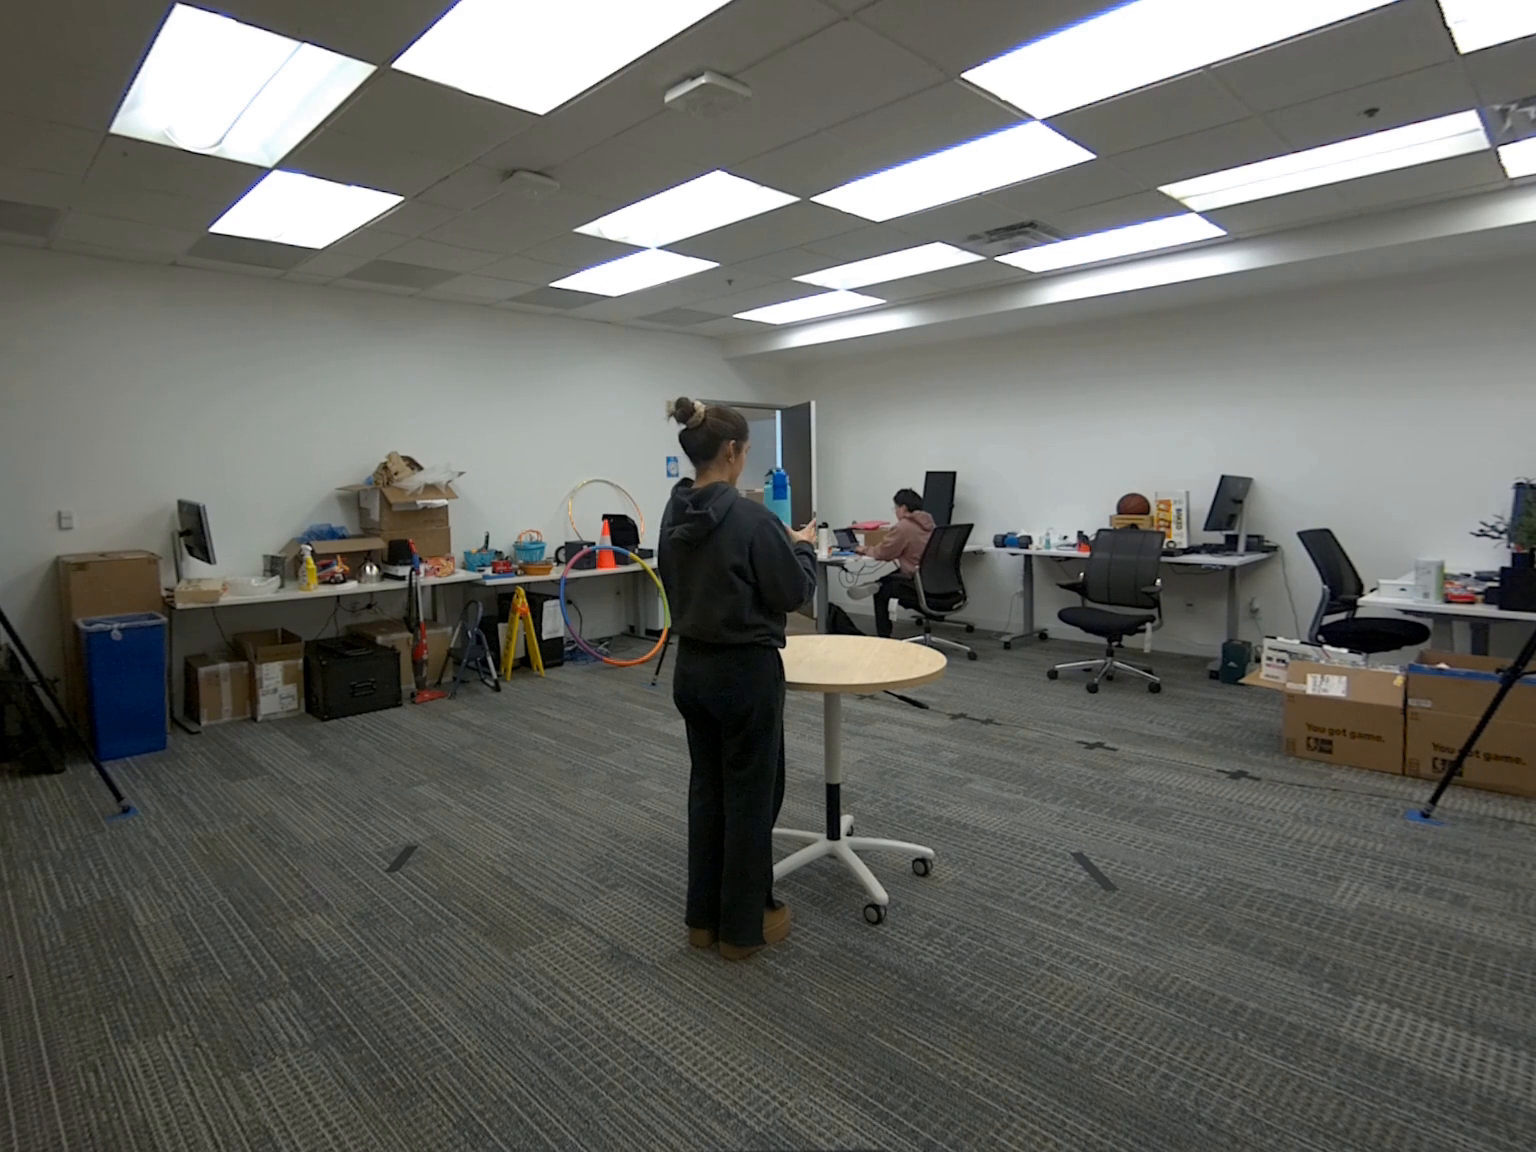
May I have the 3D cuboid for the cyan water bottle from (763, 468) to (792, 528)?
[{"bbox_3d":[0.031,-0.183,2.757,0.092,0.284,0.092,0,-2,-2],"label":"cyan water bottle"}]
